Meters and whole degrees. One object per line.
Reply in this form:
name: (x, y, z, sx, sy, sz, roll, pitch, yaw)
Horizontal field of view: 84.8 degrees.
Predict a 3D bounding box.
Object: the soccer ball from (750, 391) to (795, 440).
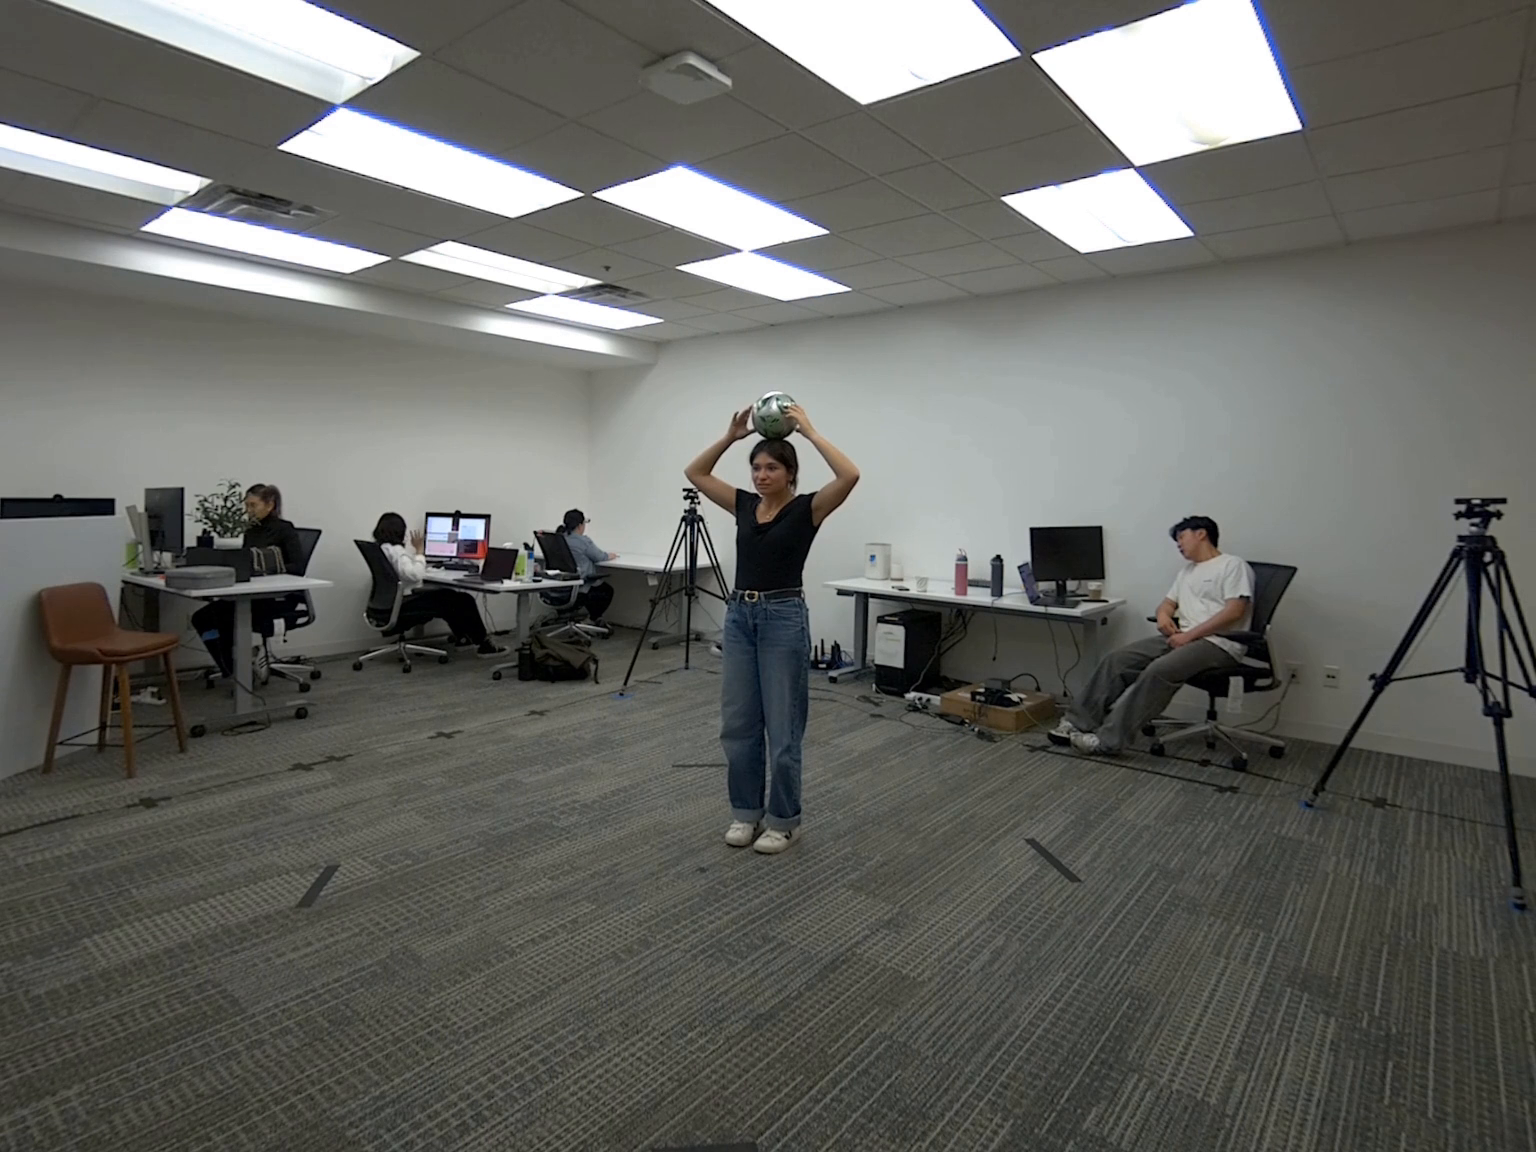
soccer ball: (0.027, -0.629, 3.312, 0.187, 0.187, 0.188, 1, 4, -2)
